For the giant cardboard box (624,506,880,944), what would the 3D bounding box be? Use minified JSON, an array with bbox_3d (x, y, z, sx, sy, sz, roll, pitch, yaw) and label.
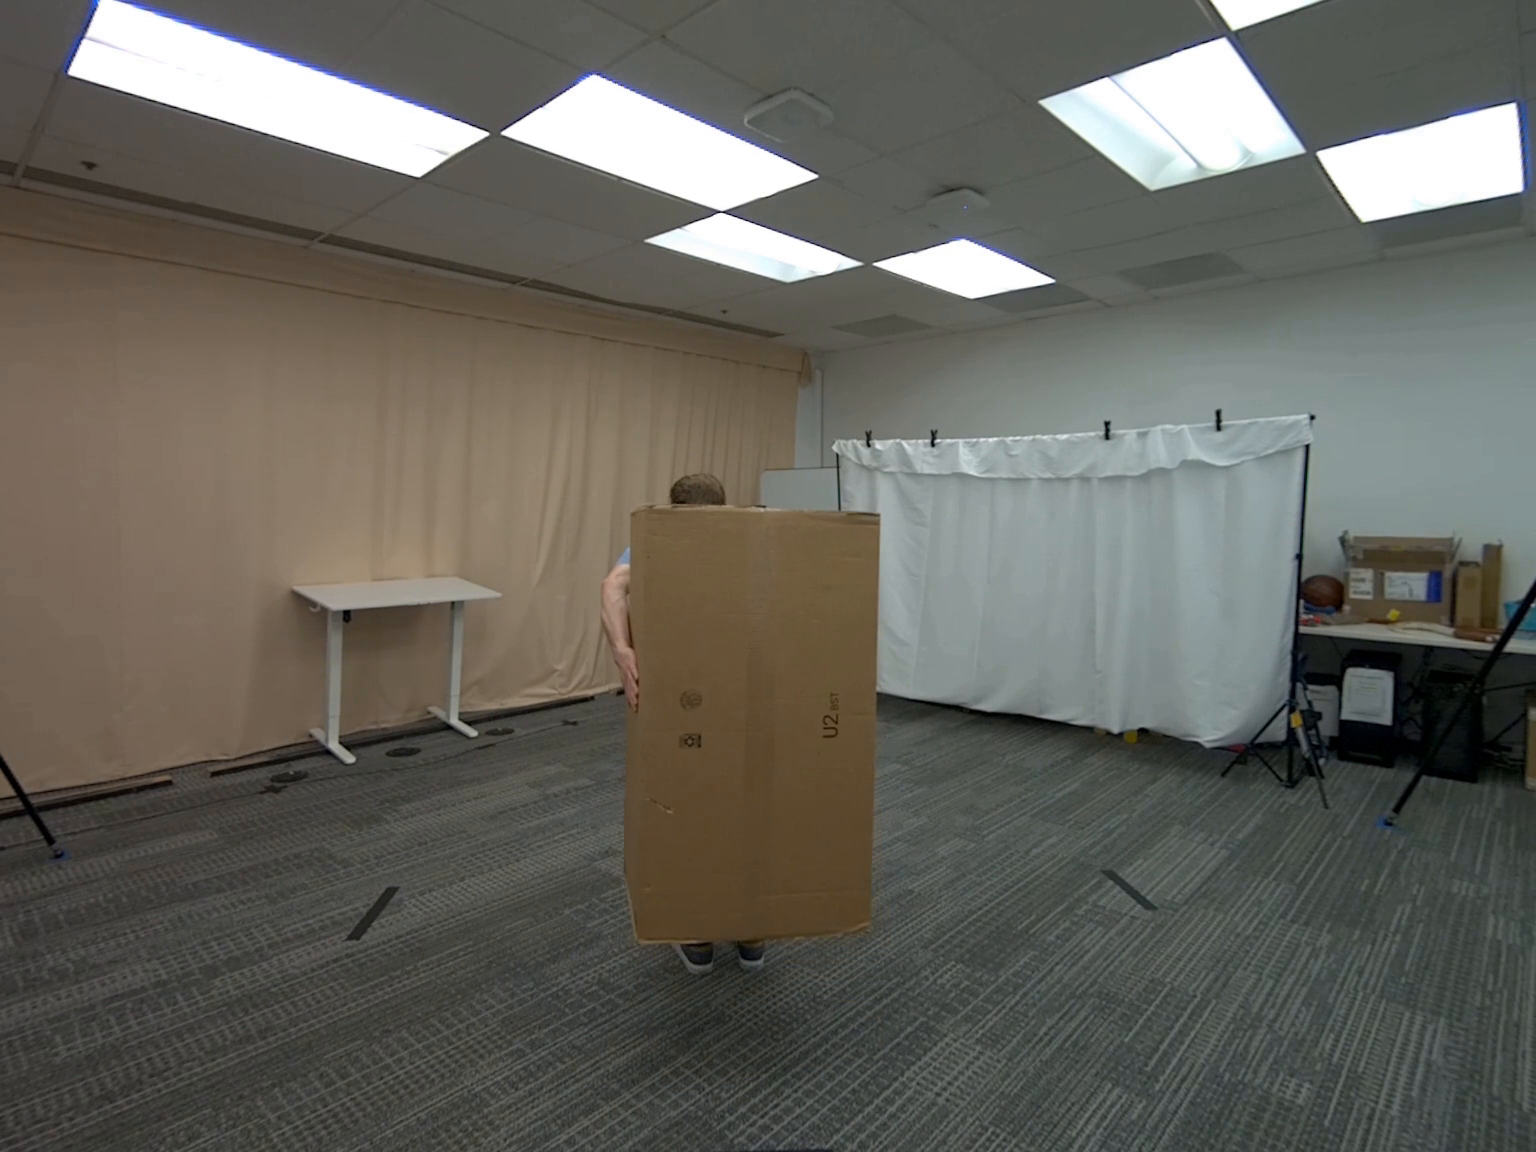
[{"bbox_3d":[-0.060,0.348,2.179,0.576,1.026,0.453,1,1,-12],"label":"giant cardboard box"}]
